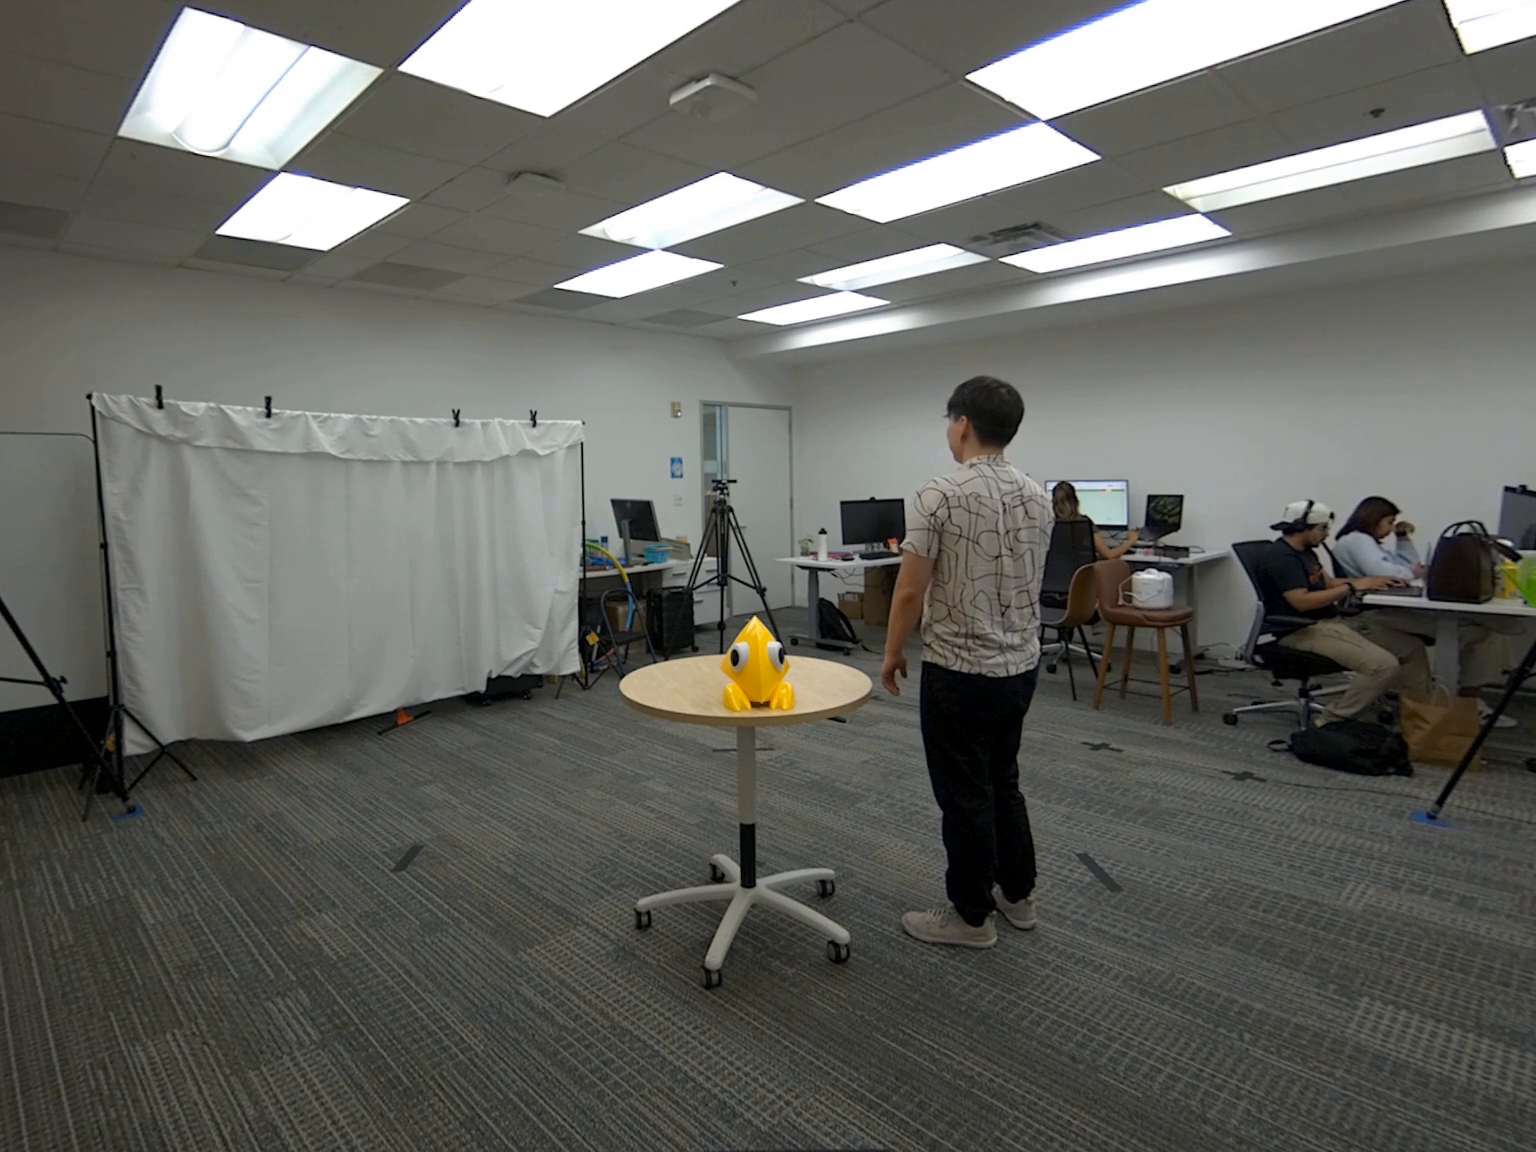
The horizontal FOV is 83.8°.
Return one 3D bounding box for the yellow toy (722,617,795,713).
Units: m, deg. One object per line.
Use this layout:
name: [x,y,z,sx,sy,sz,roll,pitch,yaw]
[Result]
yellow toy: [-0.020,0.229,2.362,0.204,0.231,0.194,-1,1,-6]
